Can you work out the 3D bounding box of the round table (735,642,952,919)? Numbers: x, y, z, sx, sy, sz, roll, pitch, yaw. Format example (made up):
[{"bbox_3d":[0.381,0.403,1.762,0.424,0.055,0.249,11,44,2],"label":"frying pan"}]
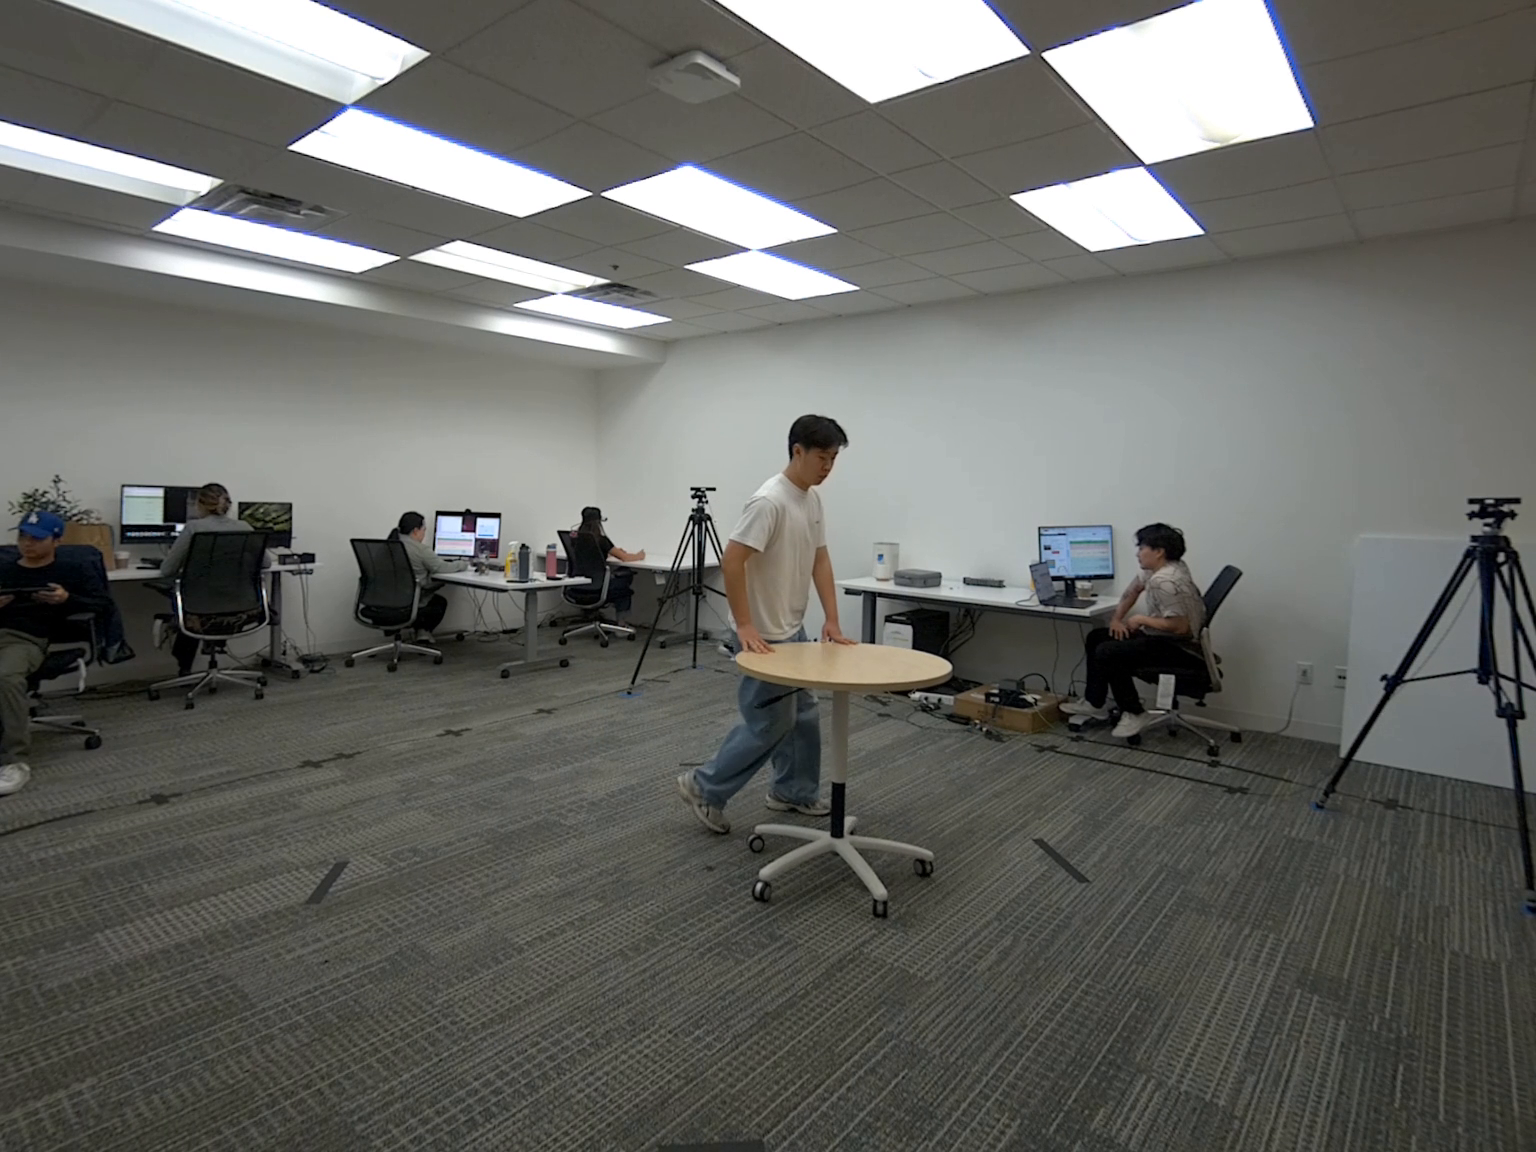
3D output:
[{"bbox_3d":[0.237,0.690,3.072,0.763,0.792,0.767,1,4,-2],"label":"round table"}]
